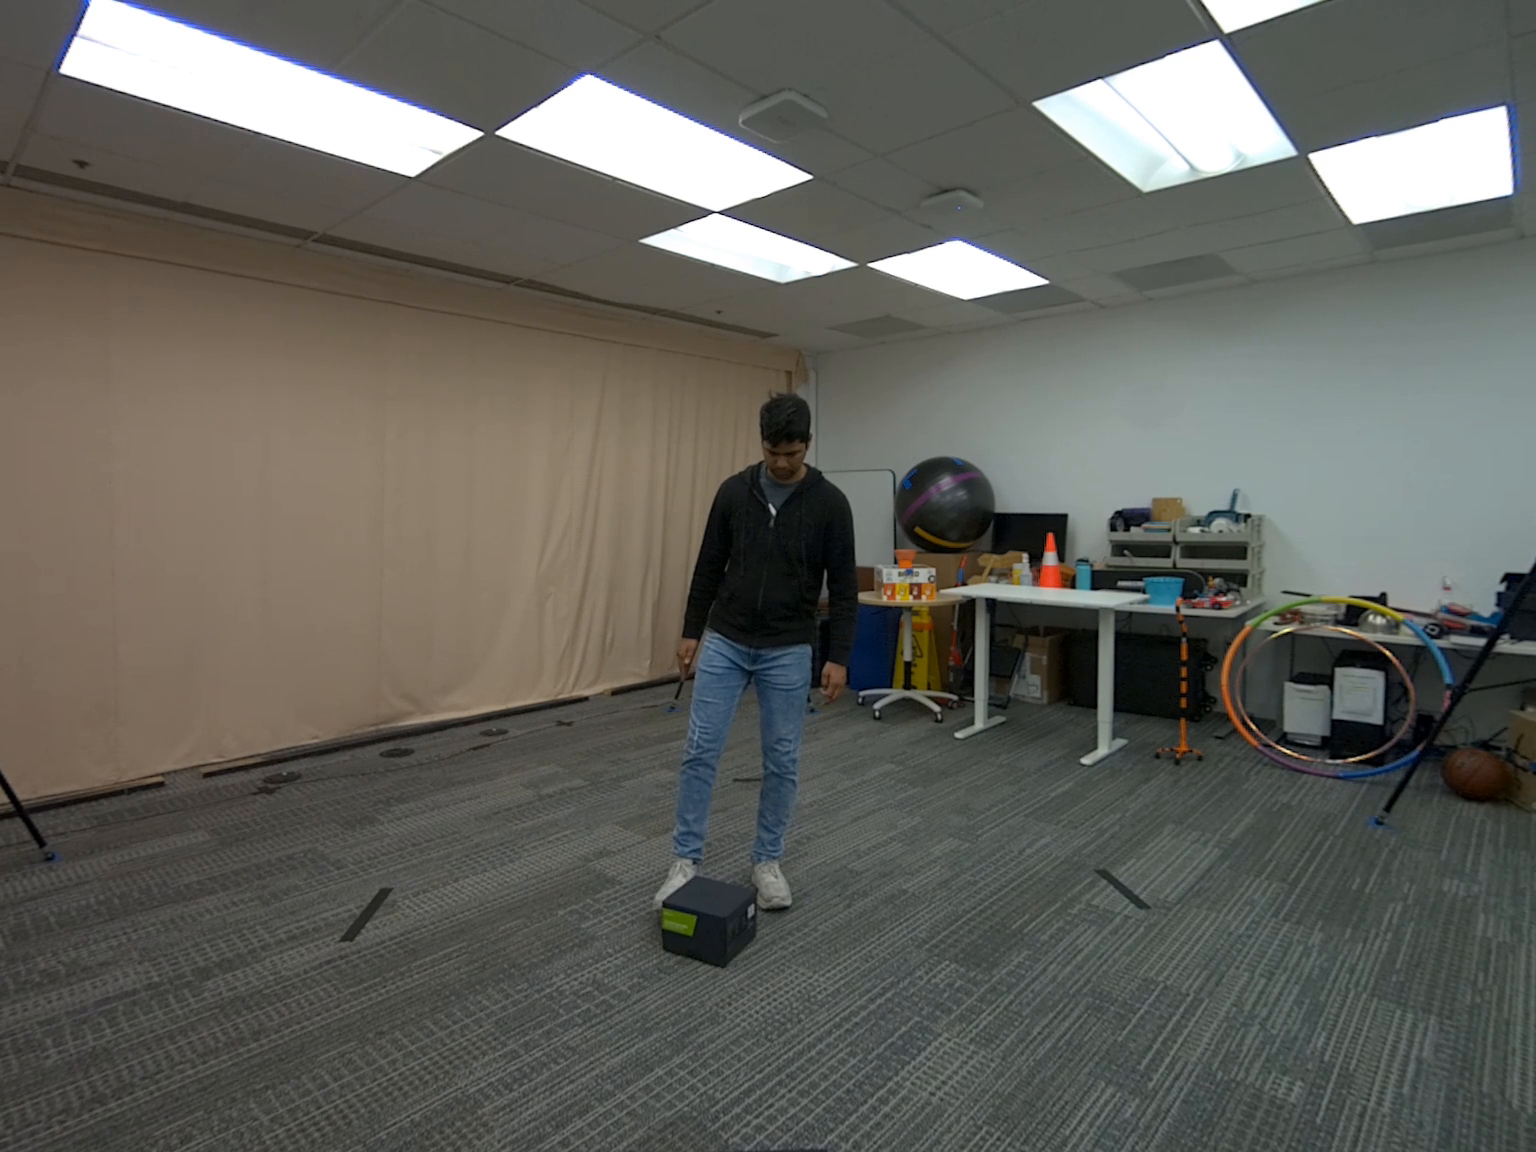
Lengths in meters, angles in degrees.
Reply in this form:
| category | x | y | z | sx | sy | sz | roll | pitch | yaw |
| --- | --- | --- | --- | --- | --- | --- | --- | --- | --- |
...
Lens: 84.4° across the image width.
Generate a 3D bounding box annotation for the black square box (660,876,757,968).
| category | x | y | z | sx | sy | sz | roll | pitch | yaw |
| --- | --- | --- | --- | --- | --- | --- | --- | --- | --- |
| black square box | -0.184 | 1.086 | 2.677 | 0.234 | 0.155 | 0.211 | 2 | 4 | 28 |
